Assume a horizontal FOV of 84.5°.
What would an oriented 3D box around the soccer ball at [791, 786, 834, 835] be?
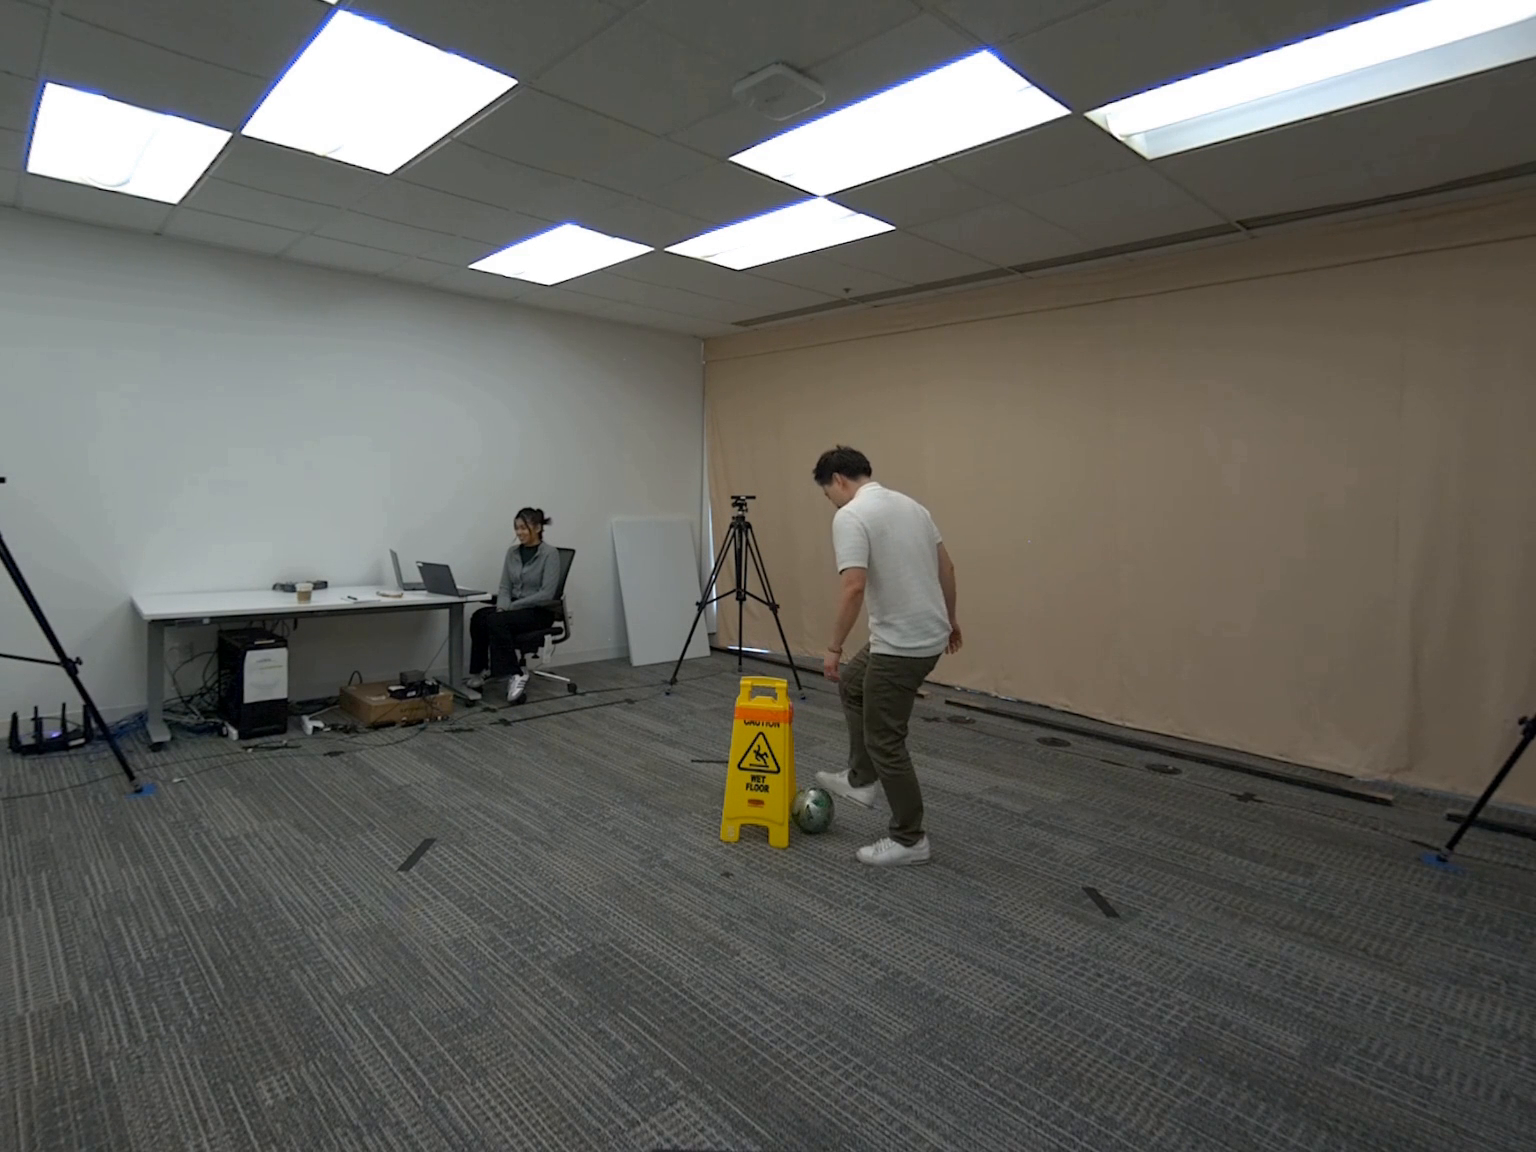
[{"bbox_3d":[0.183,0.982,3.542,0.187,0.187,0.188,1,4,-1],"label":"soccer ball"}]
